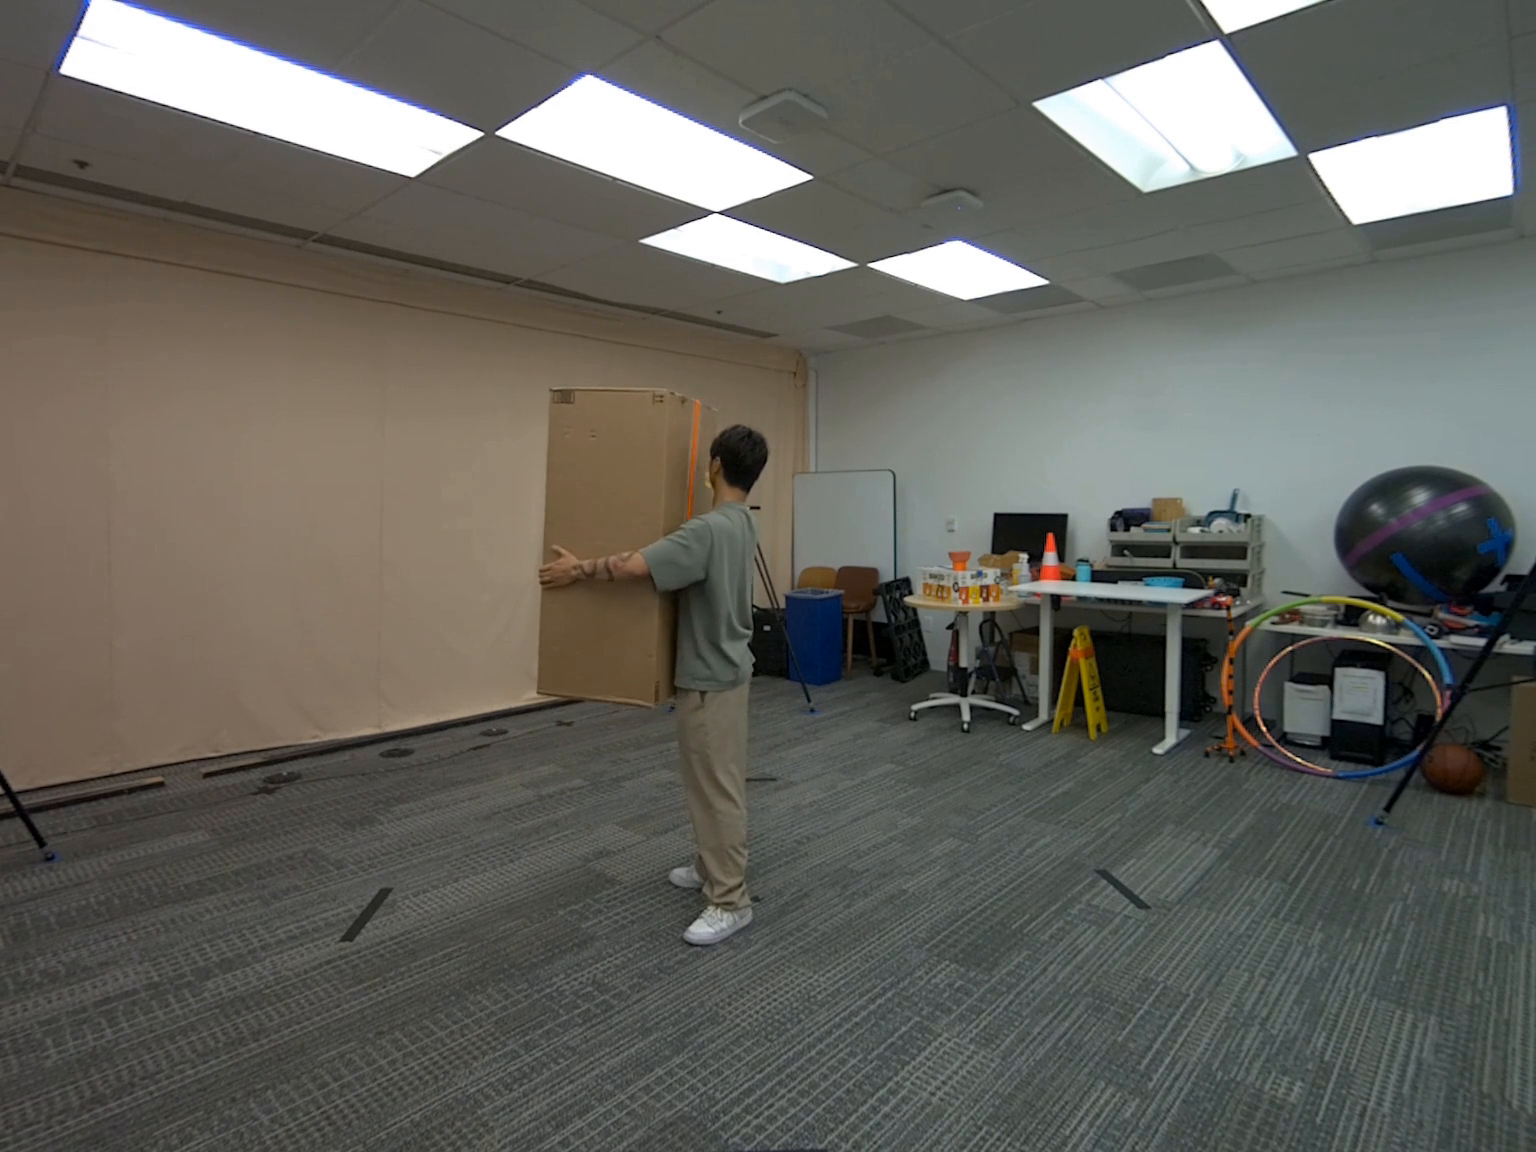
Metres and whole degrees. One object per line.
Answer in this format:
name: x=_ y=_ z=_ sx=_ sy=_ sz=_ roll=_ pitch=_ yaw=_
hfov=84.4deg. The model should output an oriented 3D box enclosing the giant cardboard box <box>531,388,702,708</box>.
giant cardboard box: x=-0.478 y=-0.120 z=3.008 sx=0.433 sy=1.024 sz=0.569 roll=4 pitch=3 yaw=14
